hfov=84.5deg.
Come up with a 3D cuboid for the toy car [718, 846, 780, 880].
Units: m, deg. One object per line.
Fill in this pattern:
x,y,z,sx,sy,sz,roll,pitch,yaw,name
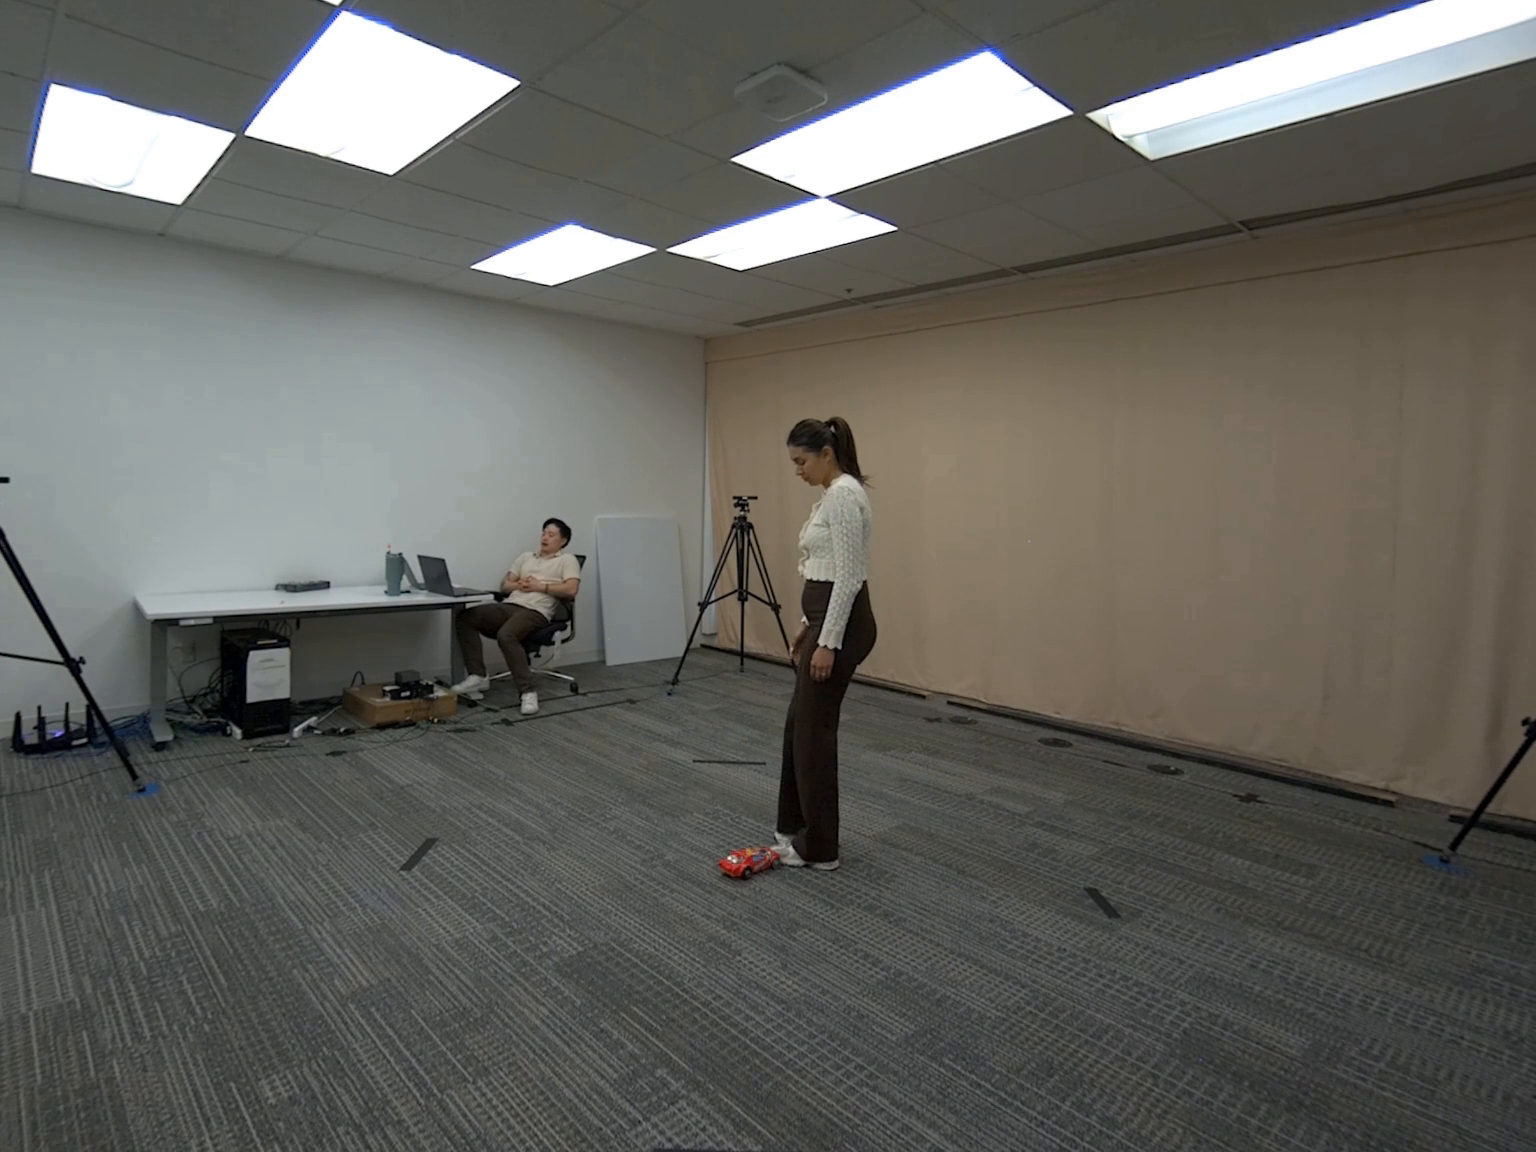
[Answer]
-0.081,1.068,3.136,0.247,0.083,0.133,13,-5,-40,toy car
